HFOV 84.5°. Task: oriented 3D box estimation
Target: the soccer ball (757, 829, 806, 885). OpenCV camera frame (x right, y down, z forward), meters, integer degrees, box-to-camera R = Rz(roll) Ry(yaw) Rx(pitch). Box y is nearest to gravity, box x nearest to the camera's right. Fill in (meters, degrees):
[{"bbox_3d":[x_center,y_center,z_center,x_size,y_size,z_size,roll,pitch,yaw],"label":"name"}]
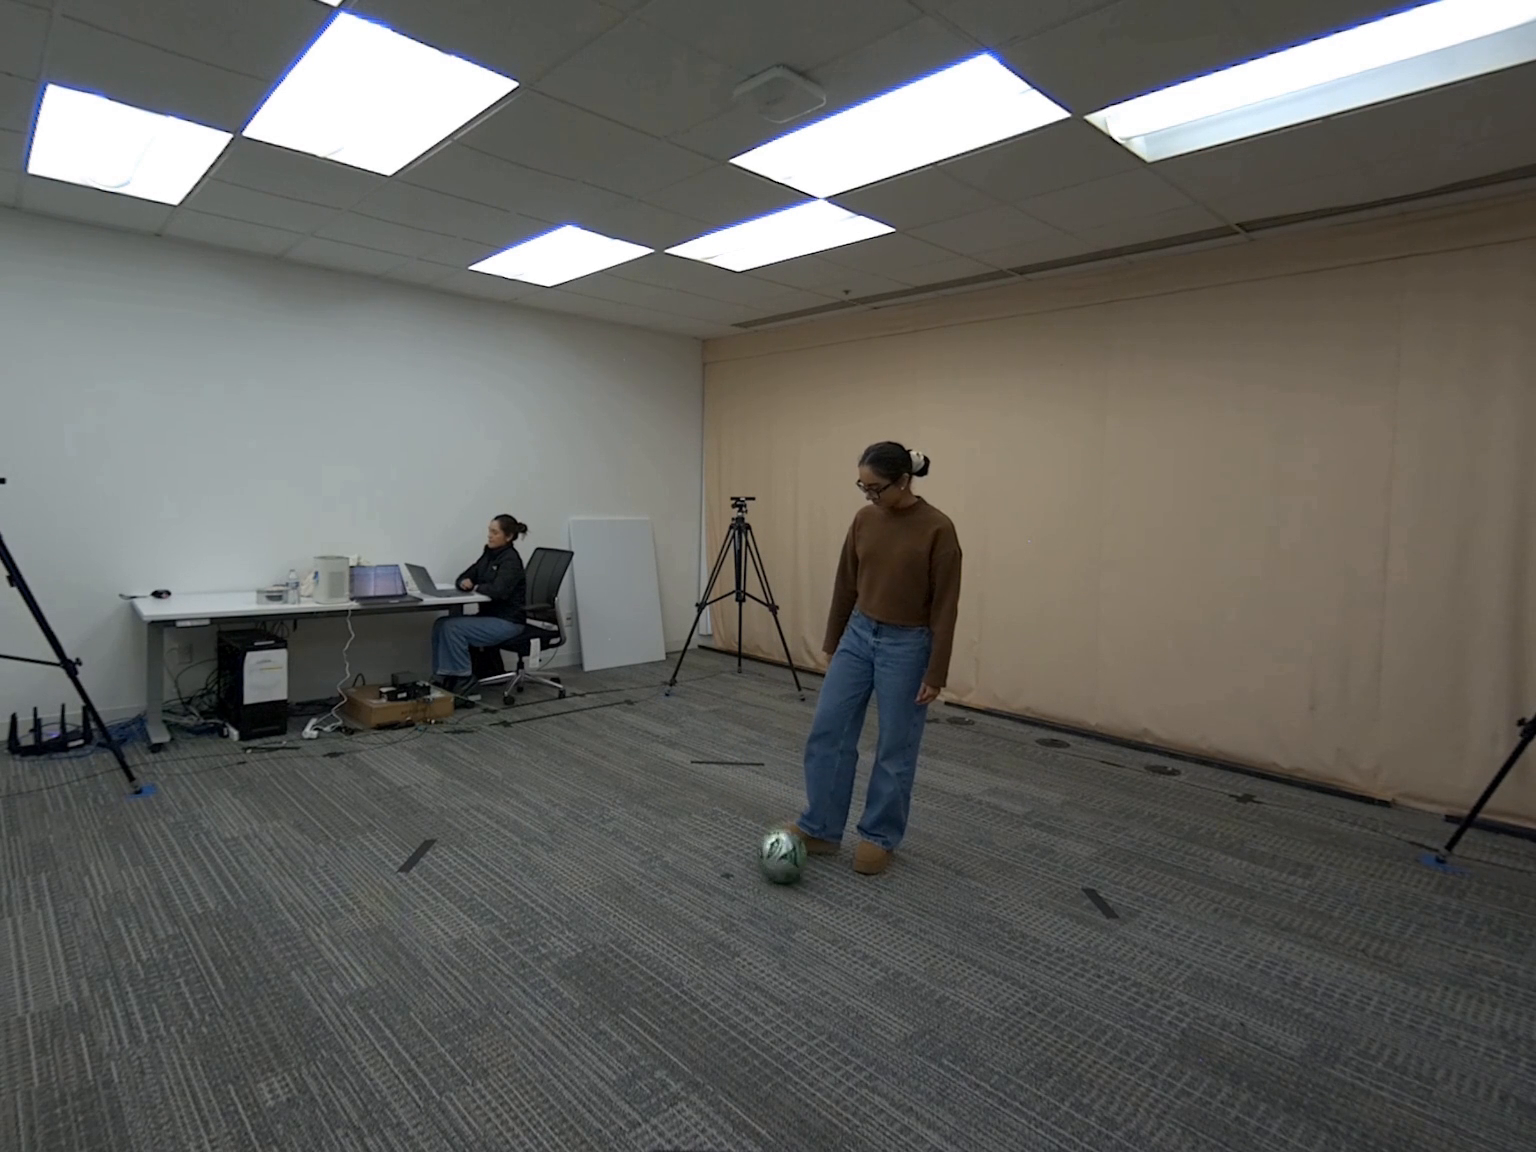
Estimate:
[{"bbox_3d":[0.041,1.019,3.071,0.187,0.187,0.188,1,4,-1],"label":"soccer ball"}]
